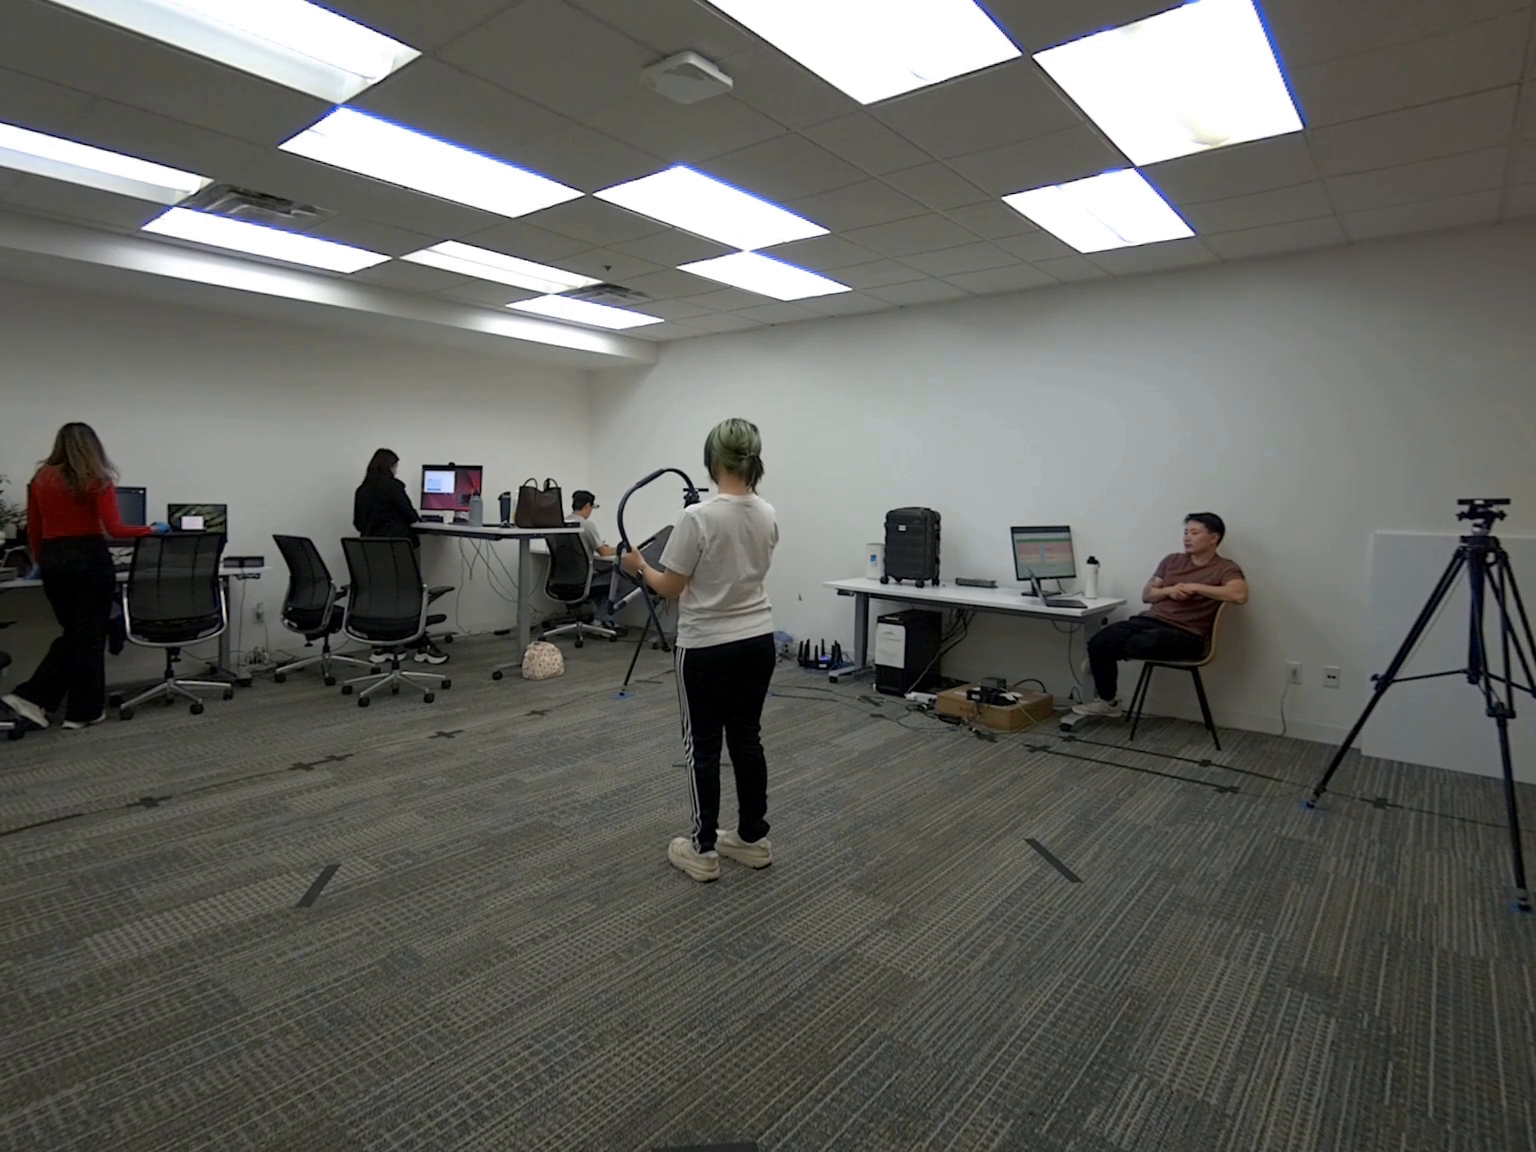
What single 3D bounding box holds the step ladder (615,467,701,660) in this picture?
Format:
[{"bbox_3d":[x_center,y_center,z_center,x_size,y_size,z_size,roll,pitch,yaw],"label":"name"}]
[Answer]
[{"bbox_3d":[-0.416,-0.112,3.373,0.362,0.589,0.427,25,44,29],"label":"step ladder"}]
